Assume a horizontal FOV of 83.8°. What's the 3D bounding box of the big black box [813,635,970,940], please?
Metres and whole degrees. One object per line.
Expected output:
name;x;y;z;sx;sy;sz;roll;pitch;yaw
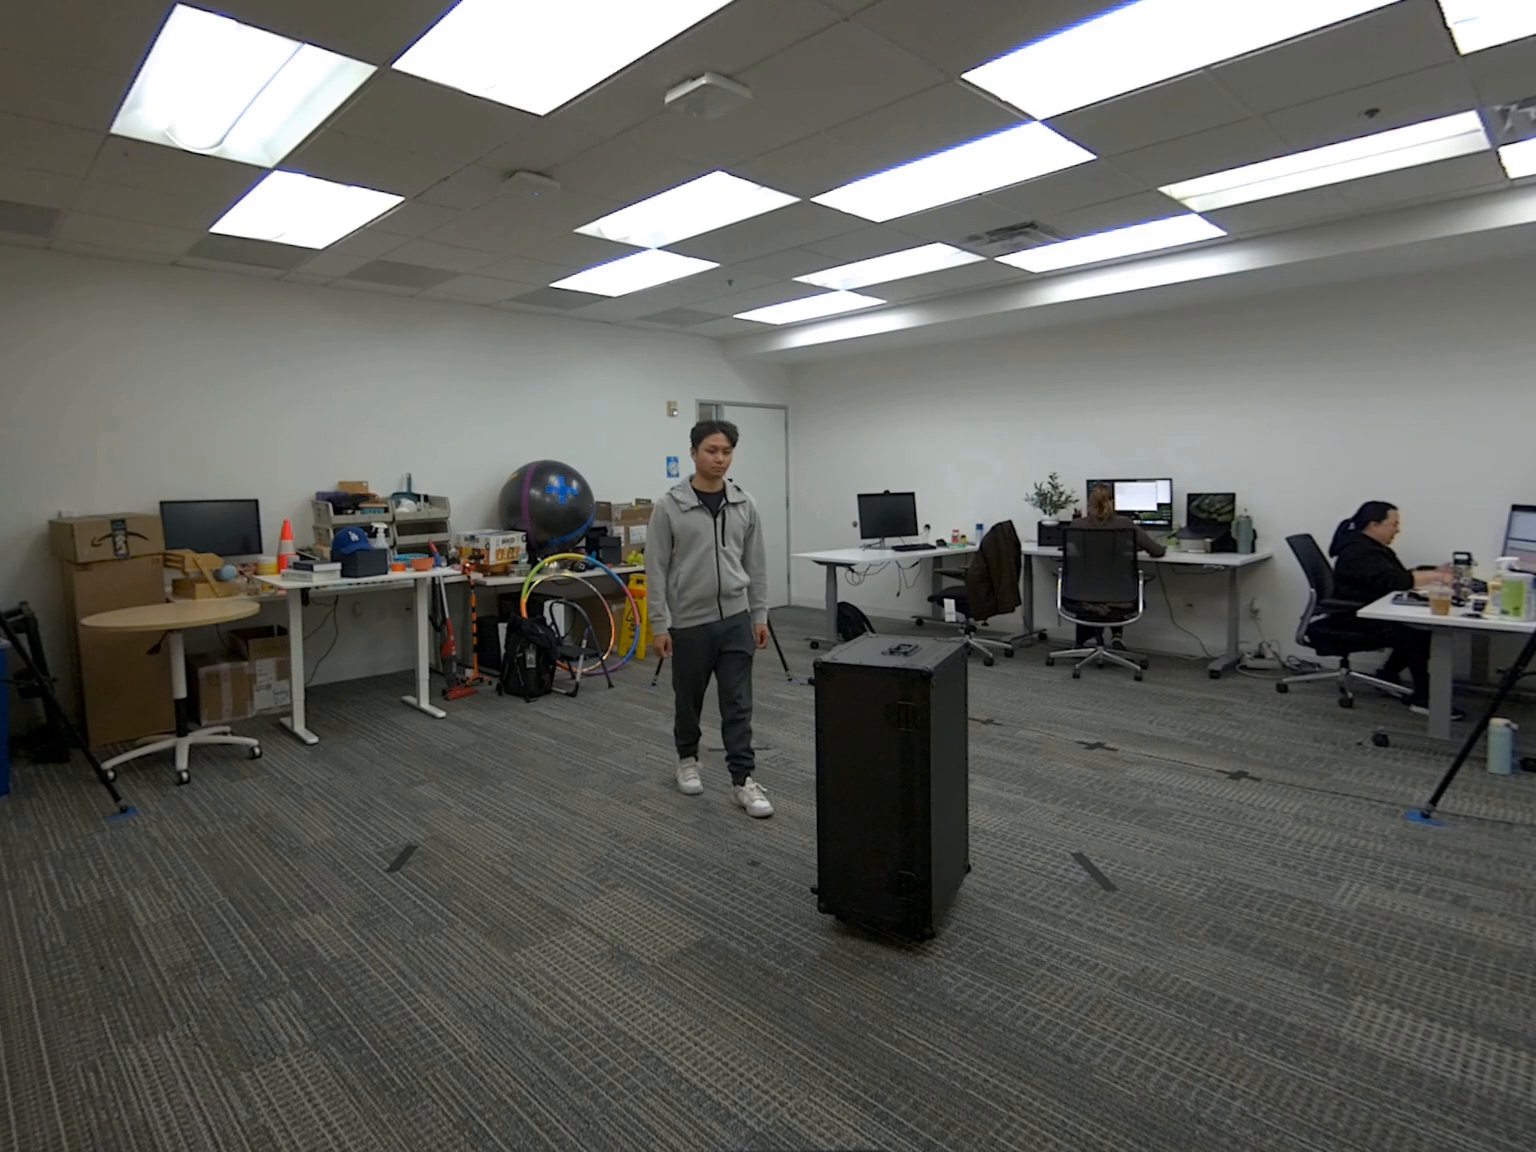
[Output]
big black box;0.402;0.657;2.717;0.406;0.859;0.510;0;4;27
